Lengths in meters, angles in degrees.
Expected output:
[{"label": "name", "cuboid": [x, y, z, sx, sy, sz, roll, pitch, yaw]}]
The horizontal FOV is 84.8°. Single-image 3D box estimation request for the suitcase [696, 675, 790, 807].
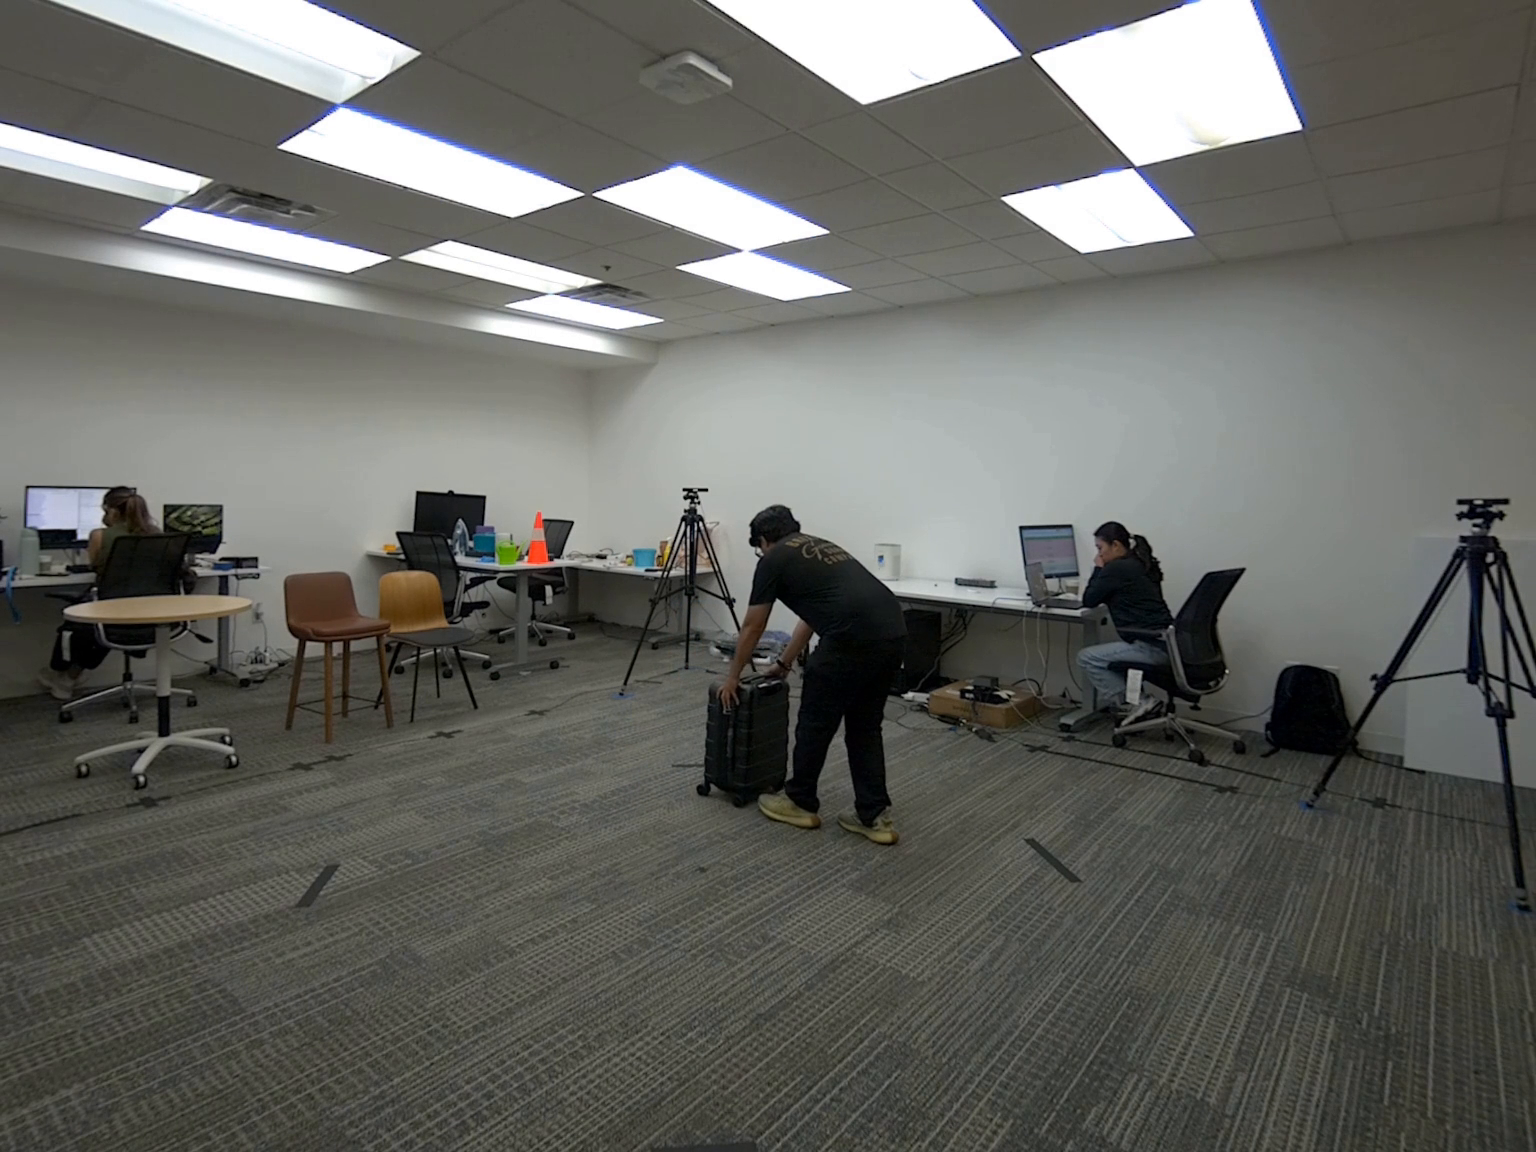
[{"label": "suitcase", "cuboid": [-0.104, 0.720, 3.894, 0.257, 0.547, 0.364, 6, 5, 40]}]
